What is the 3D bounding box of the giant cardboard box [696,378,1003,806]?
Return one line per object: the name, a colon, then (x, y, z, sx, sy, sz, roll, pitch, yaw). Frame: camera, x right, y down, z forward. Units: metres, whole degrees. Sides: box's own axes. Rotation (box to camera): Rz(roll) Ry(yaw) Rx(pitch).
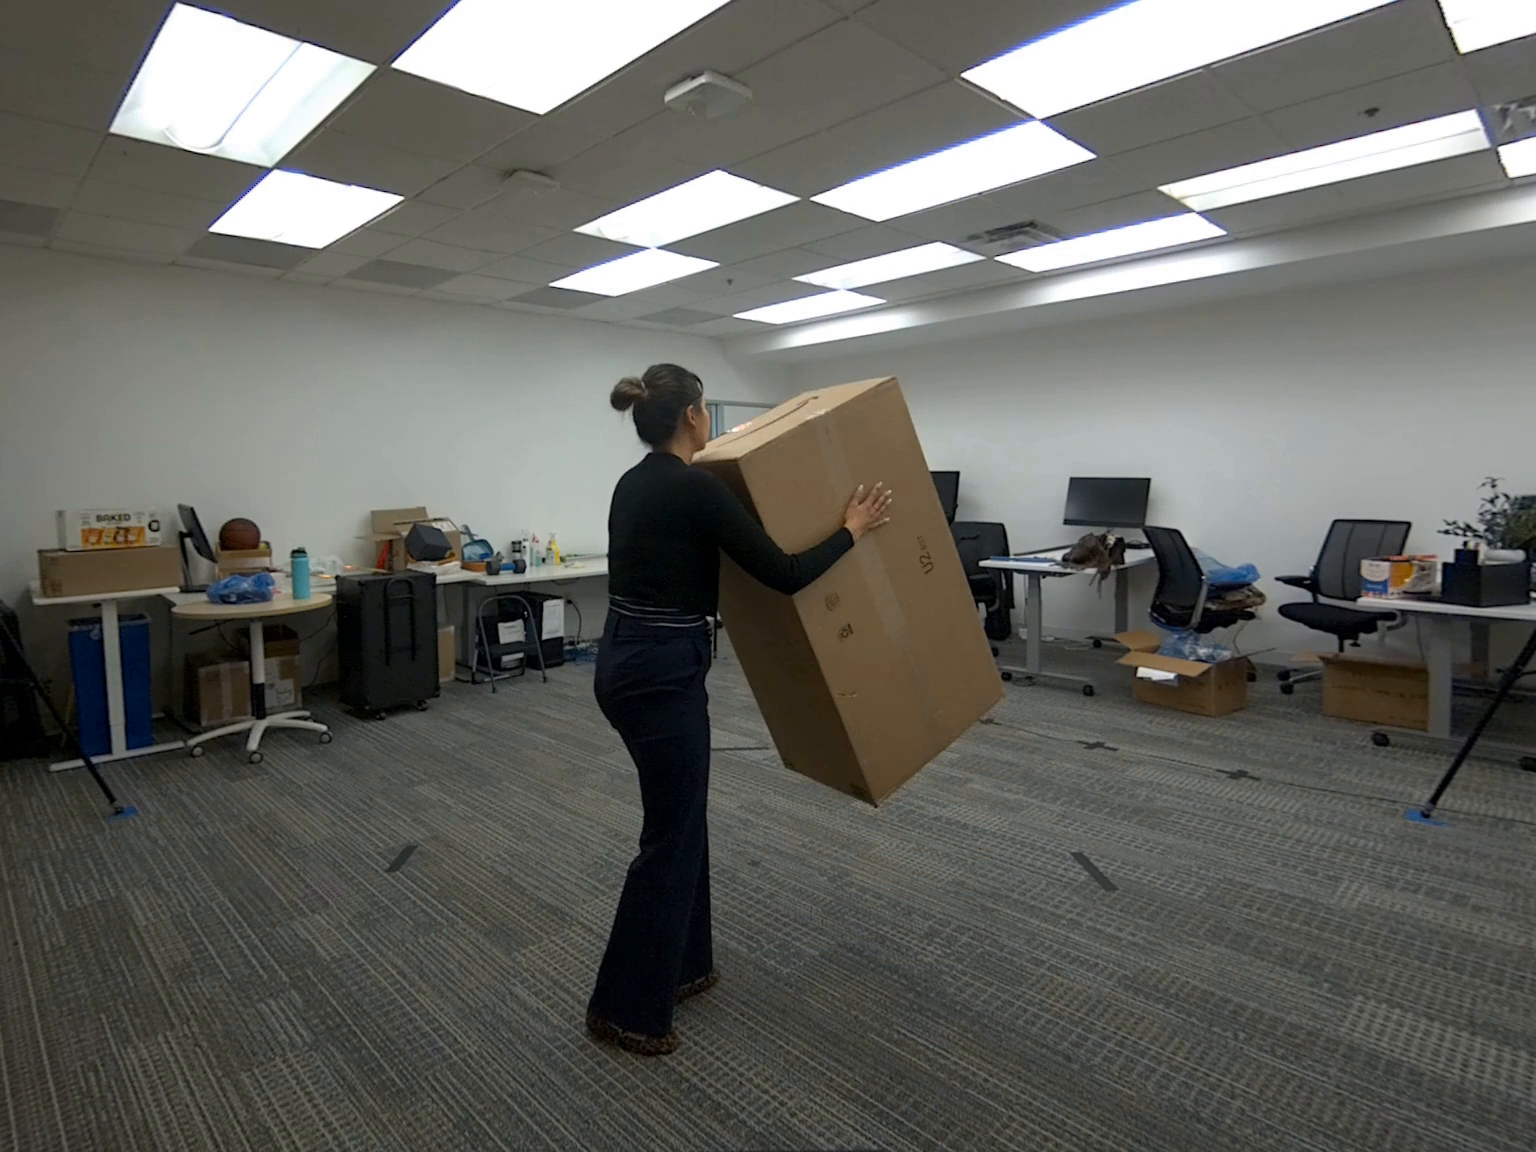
giant cardboard box: (0.198, 0.031, 2.475, 0.572, 1.008, 0.438, -30, 17, -28)
